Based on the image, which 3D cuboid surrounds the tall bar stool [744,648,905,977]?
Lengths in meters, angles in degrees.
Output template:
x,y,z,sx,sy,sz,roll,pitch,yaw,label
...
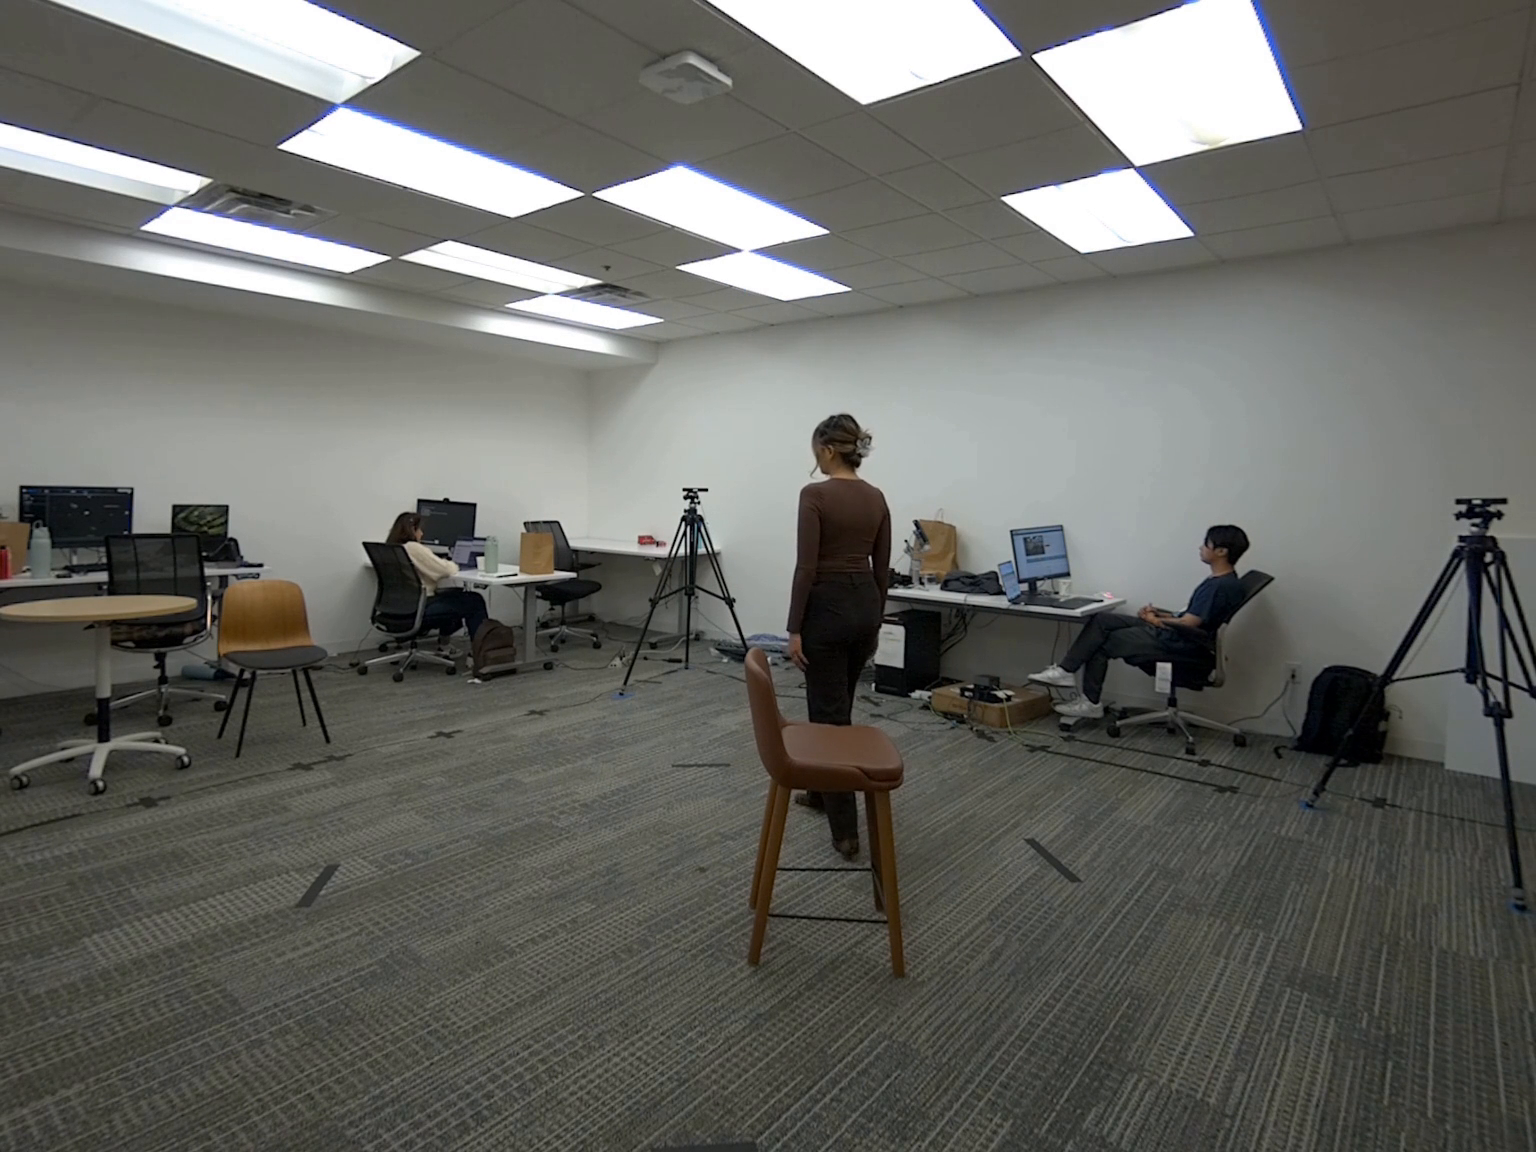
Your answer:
x,y,z,sx,sy,sz,roll,pitch,yaw,label
0.167,0.690,2.632,0.469,0.887,0.457,0,3,1,tall bar stool
